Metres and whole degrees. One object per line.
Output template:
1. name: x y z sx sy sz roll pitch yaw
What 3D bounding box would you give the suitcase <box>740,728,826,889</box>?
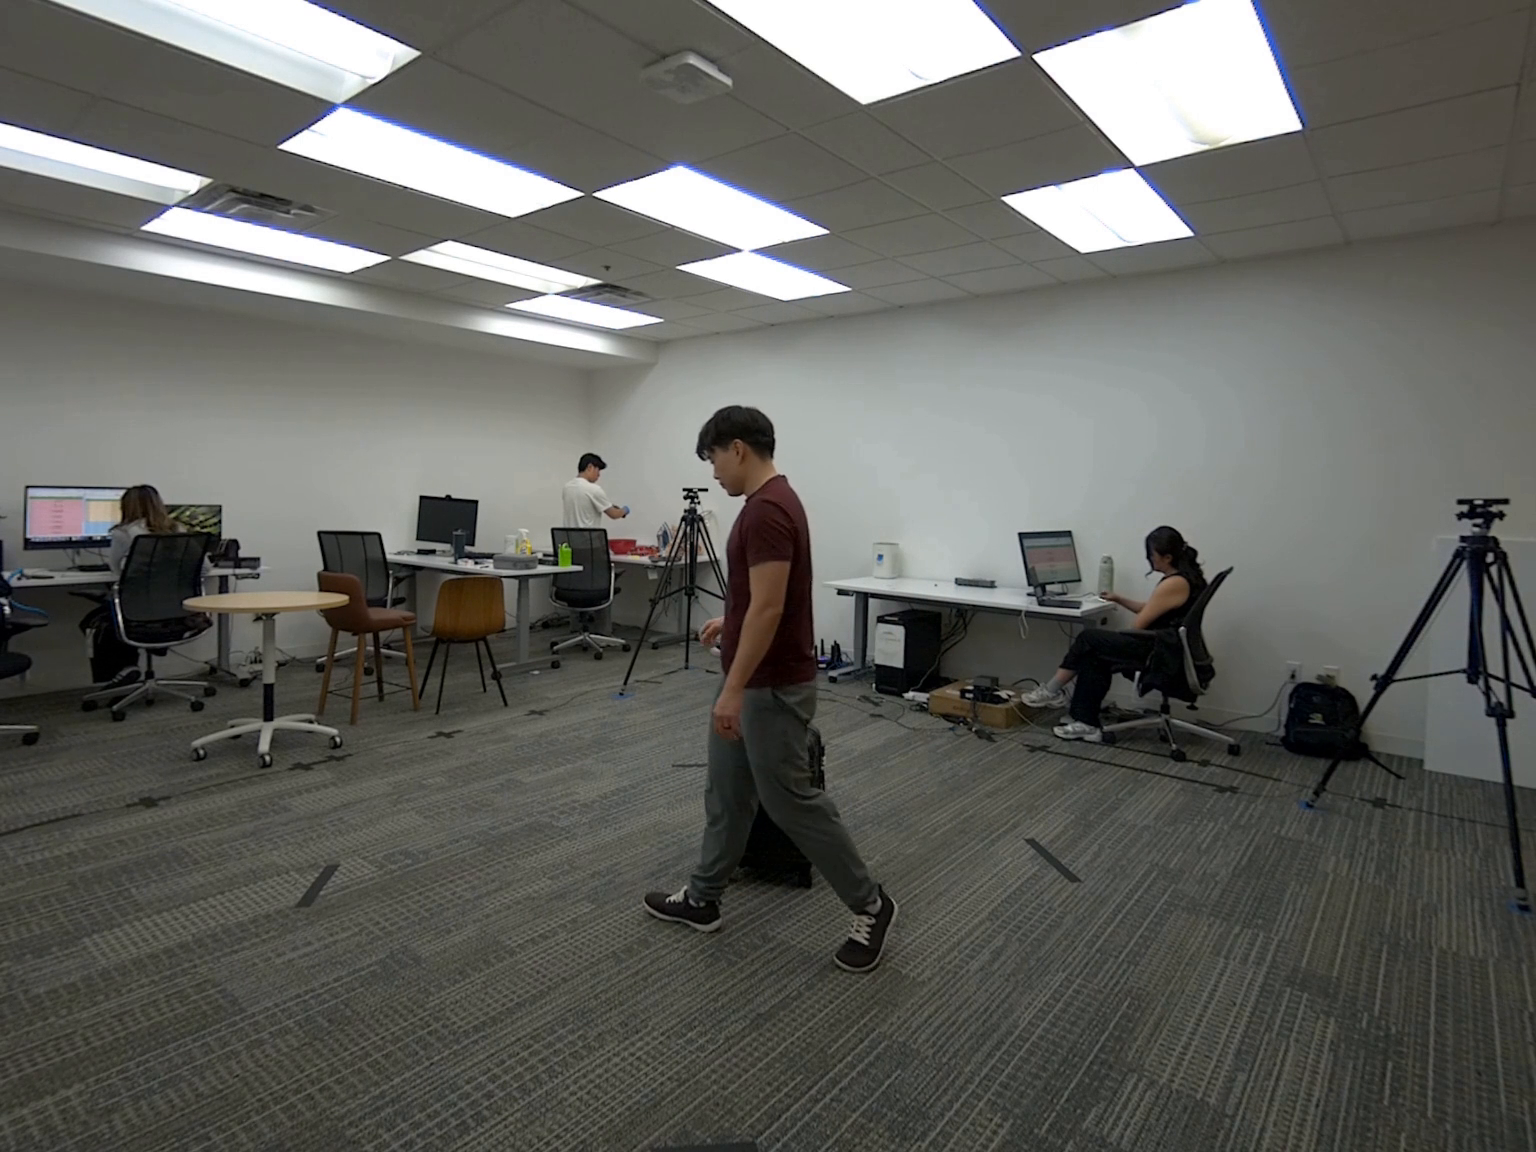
1. suitcase: 0.014 0.594 3.075 0.388 0.975 0.255 3 4 9
